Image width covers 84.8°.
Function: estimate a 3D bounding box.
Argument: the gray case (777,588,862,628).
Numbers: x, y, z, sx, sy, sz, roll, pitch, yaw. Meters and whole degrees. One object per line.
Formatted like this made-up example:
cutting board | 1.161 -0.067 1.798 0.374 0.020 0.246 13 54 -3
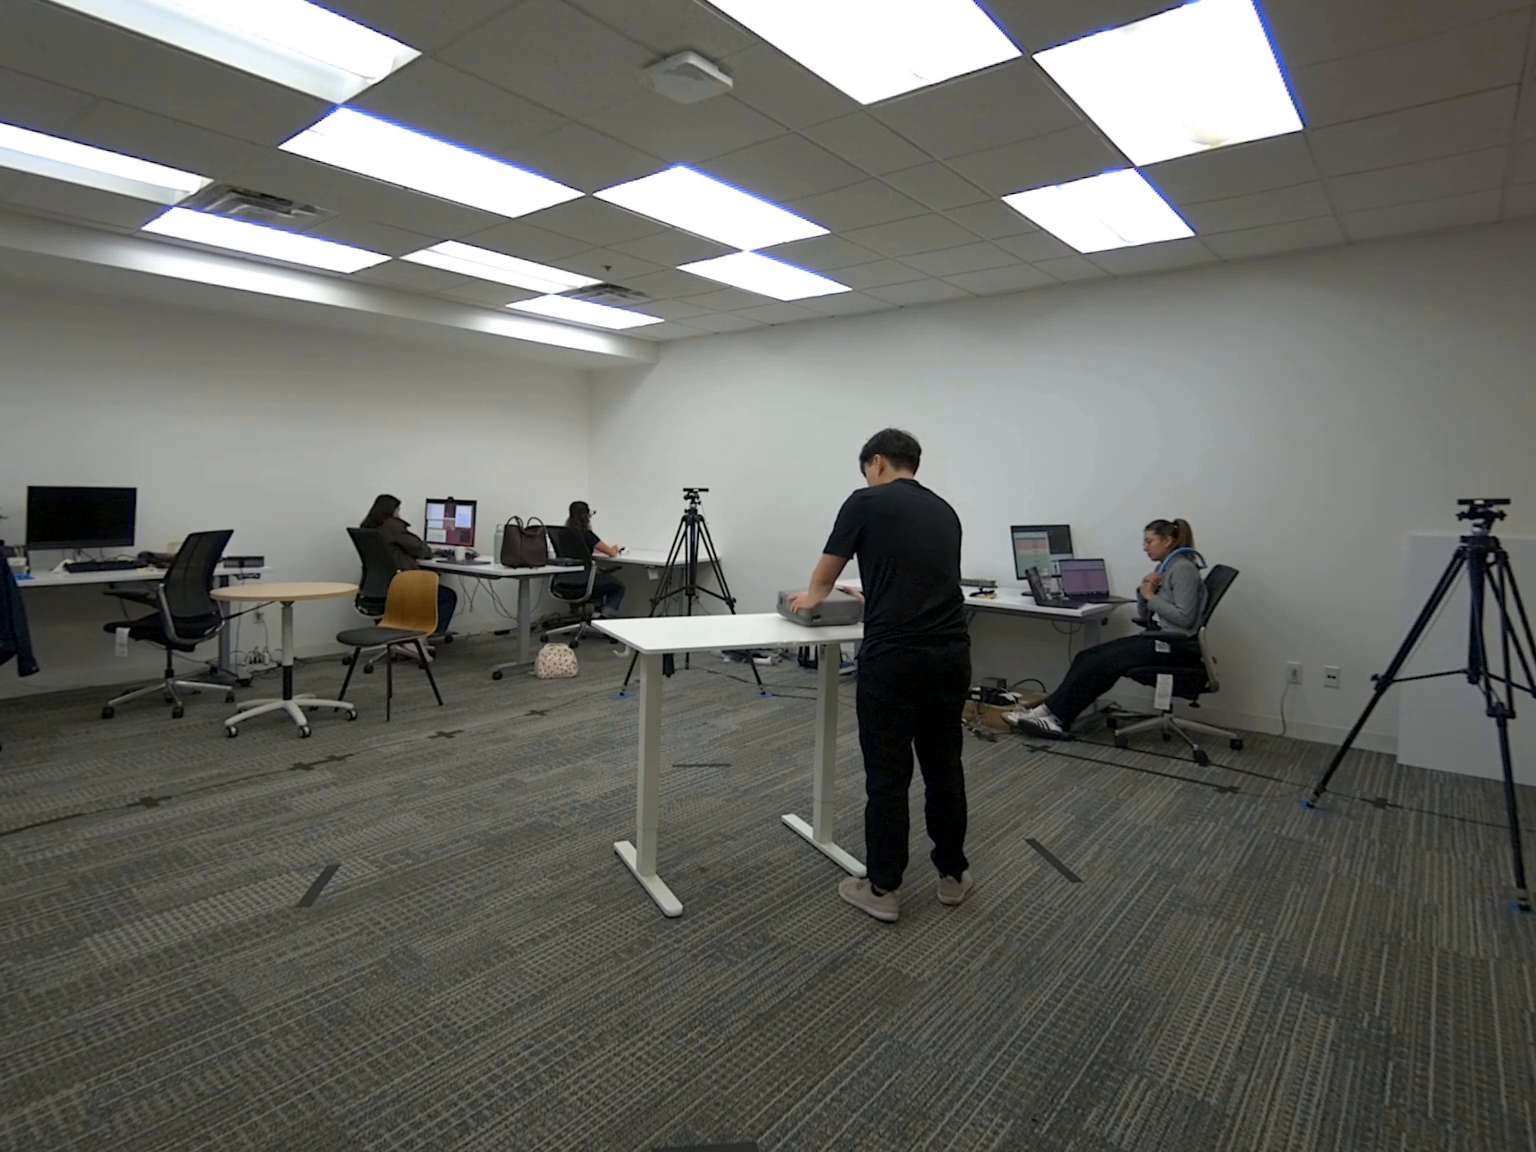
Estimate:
gray case | 0.190 0.113 3.334 0.251 0.103 0.269 -3 12 -27
